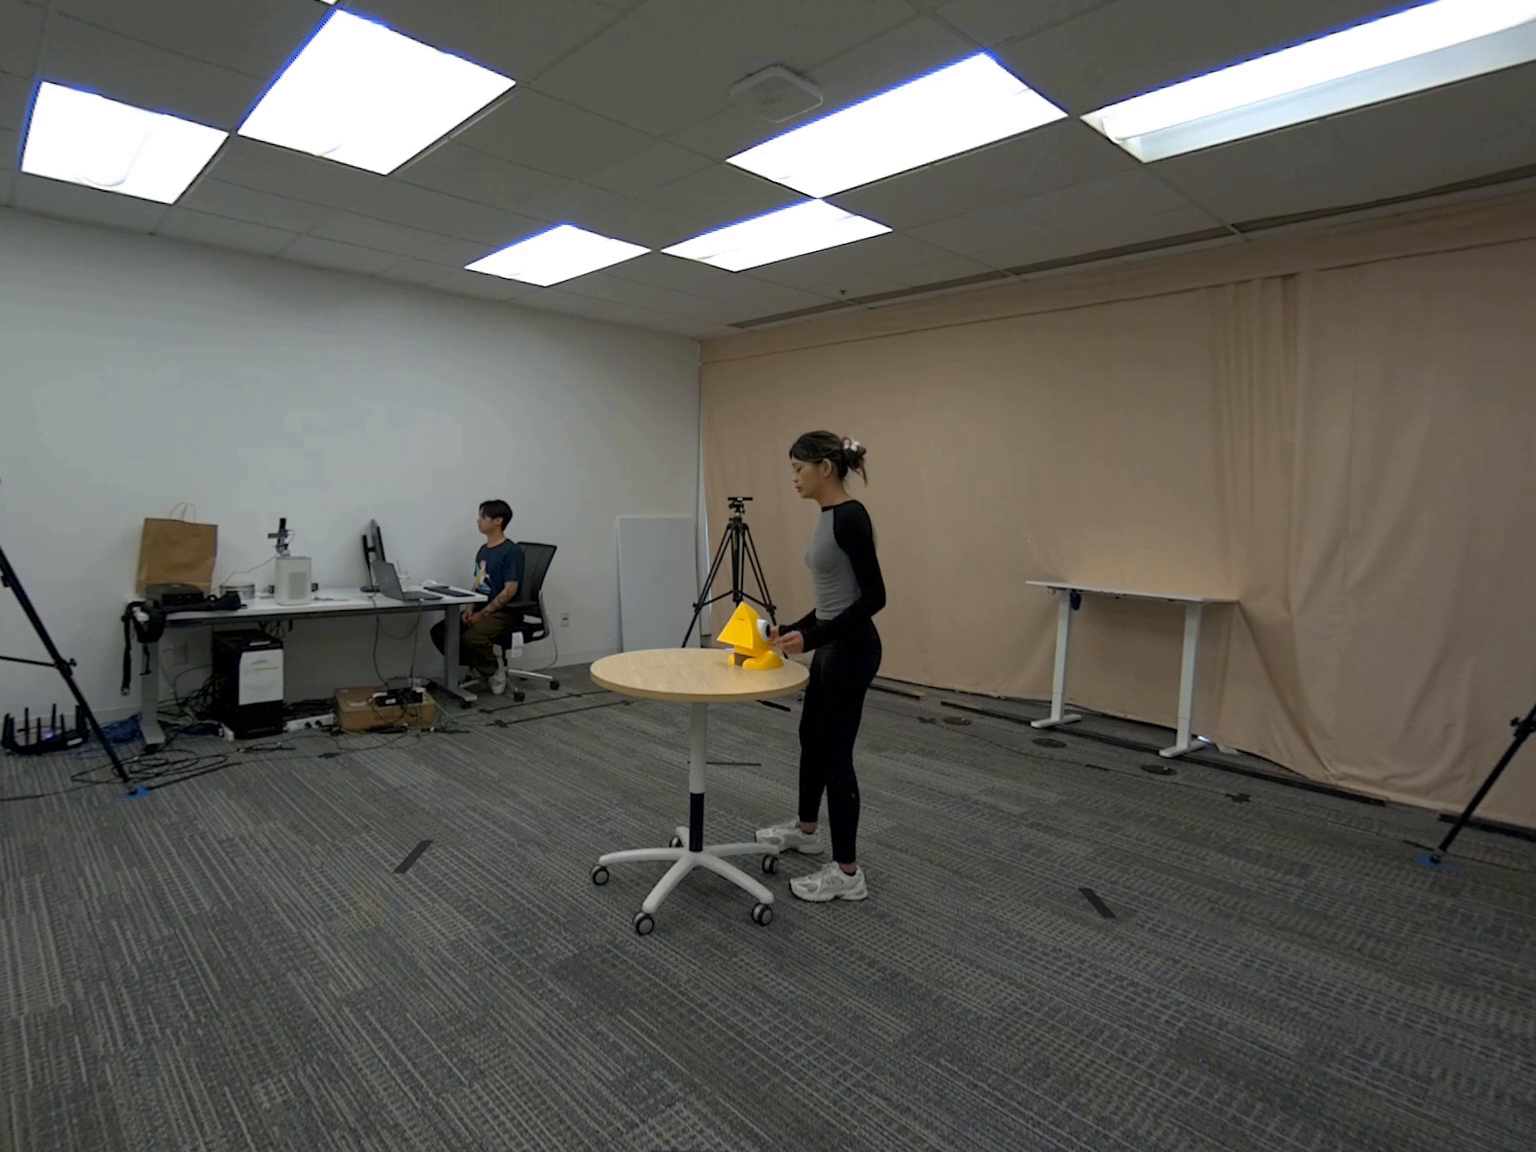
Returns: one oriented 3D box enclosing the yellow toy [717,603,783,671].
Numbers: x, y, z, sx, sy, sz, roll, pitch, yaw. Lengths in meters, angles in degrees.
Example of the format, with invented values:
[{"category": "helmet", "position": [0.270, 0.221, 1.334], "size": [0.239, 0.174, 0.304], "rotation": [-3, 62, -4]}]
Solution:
[{"category": "yellow toy", "position": [-0.053, 0.207, 3.057], "size": [0.188, 0.230, 0.210], "rotation": [-1, 4, -39]}]
